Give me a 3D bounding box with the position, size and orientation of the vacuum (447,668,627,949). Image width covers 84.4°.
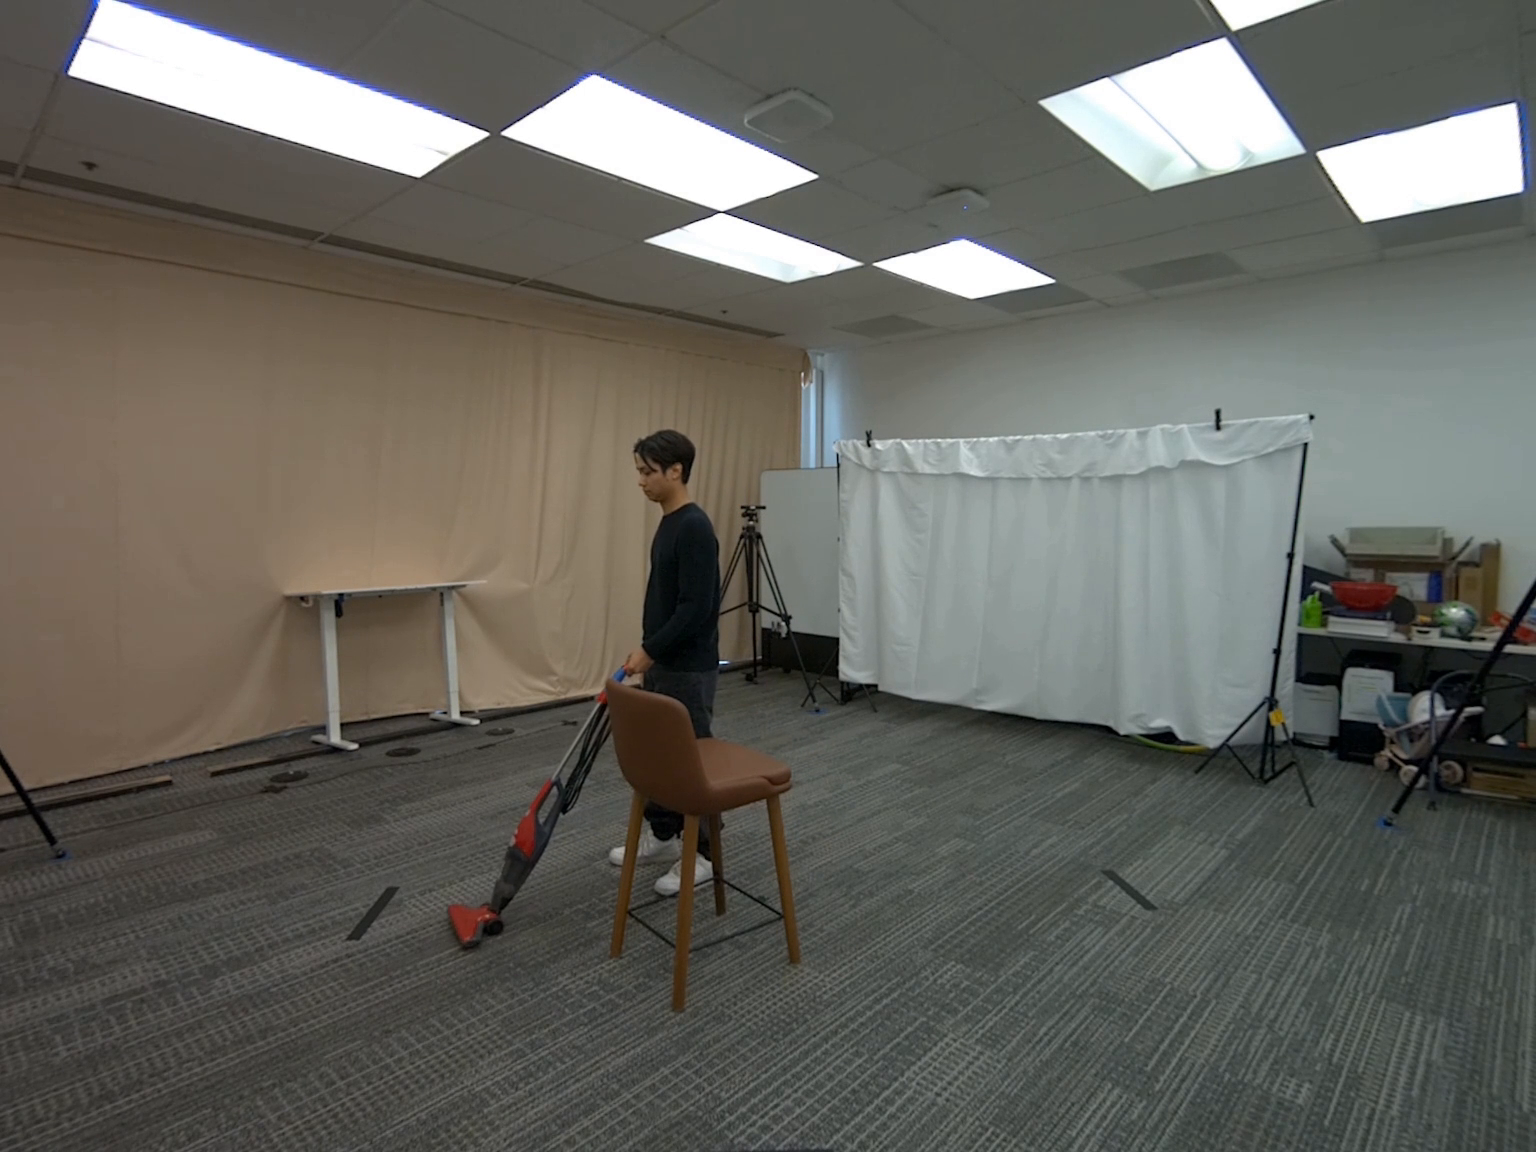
[{"bbox_3d":[-0.706,0.725,2.882,0.139,1.049,0.260,38,-14,-29],"label":"vacuum"}]
